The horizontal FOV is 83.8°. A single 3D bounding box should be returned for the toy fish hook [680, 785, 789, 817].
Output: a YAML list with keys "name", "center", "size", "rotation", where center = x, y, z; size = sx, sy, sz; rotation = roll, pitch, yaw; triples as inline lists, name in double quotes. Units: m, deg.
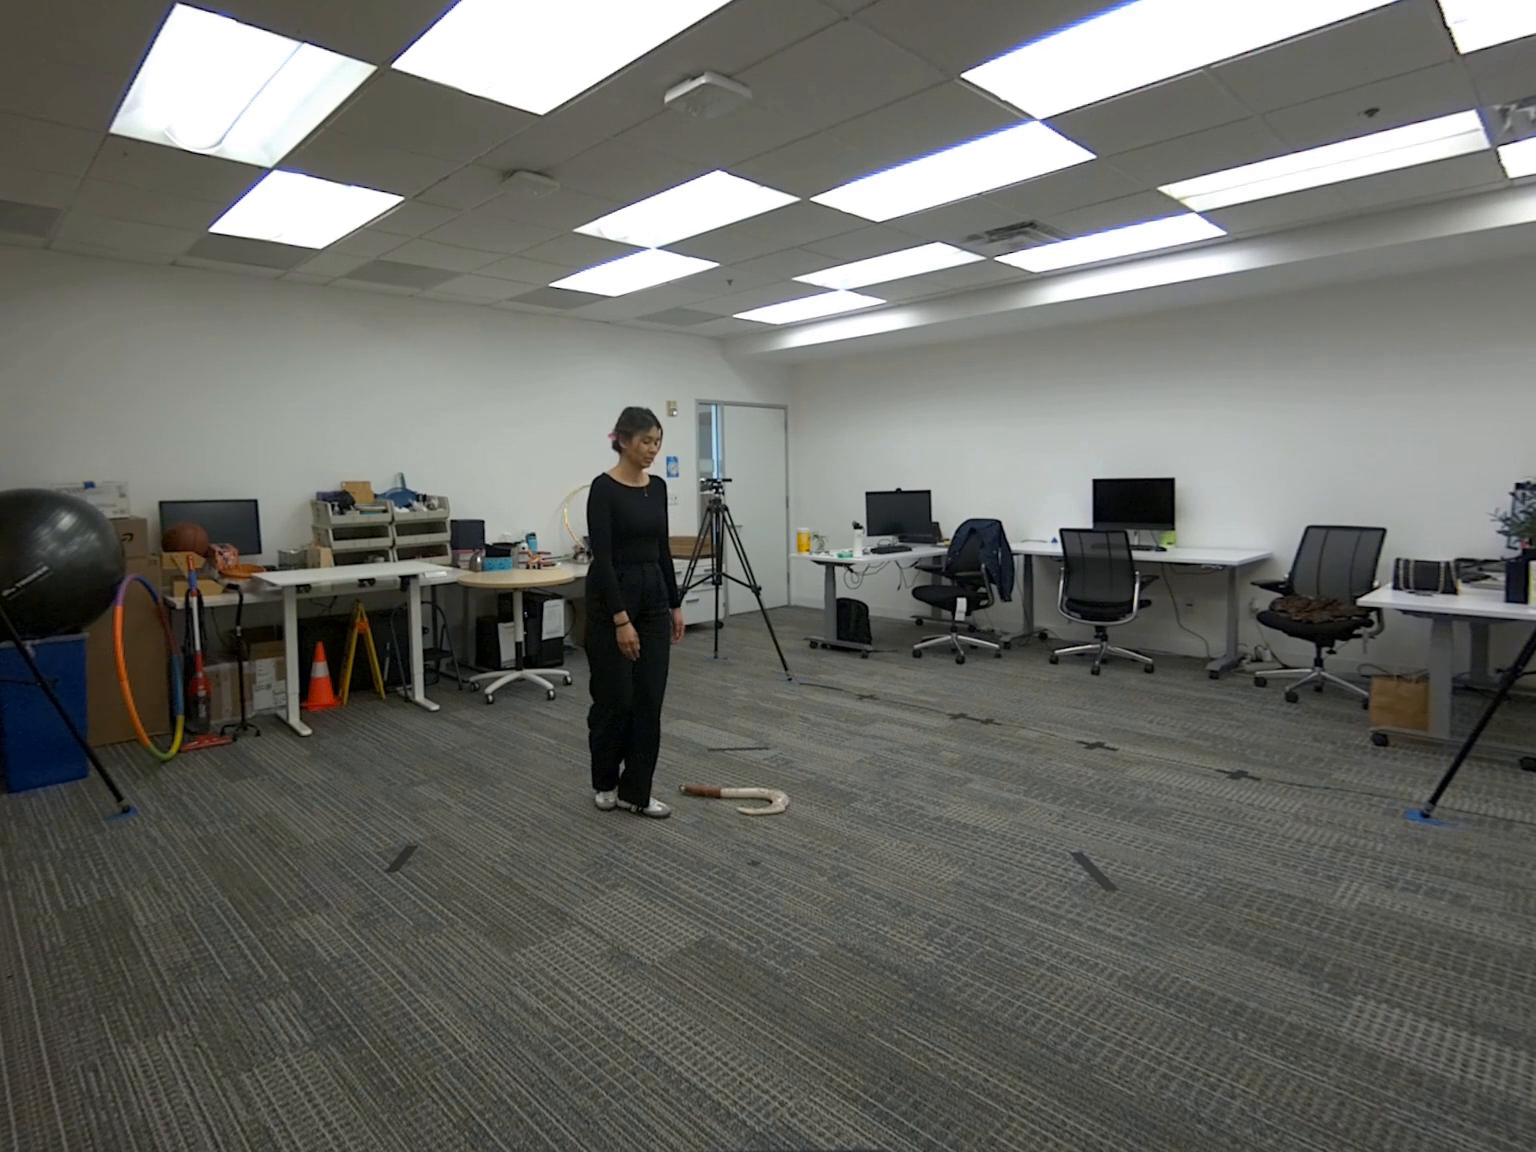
- name: "toy fish hook"
  center: [-0.165, 0.955, 3.684]
  size: [0.515, 0.048, 0.221]
  rotation: [1, 5, 18]
